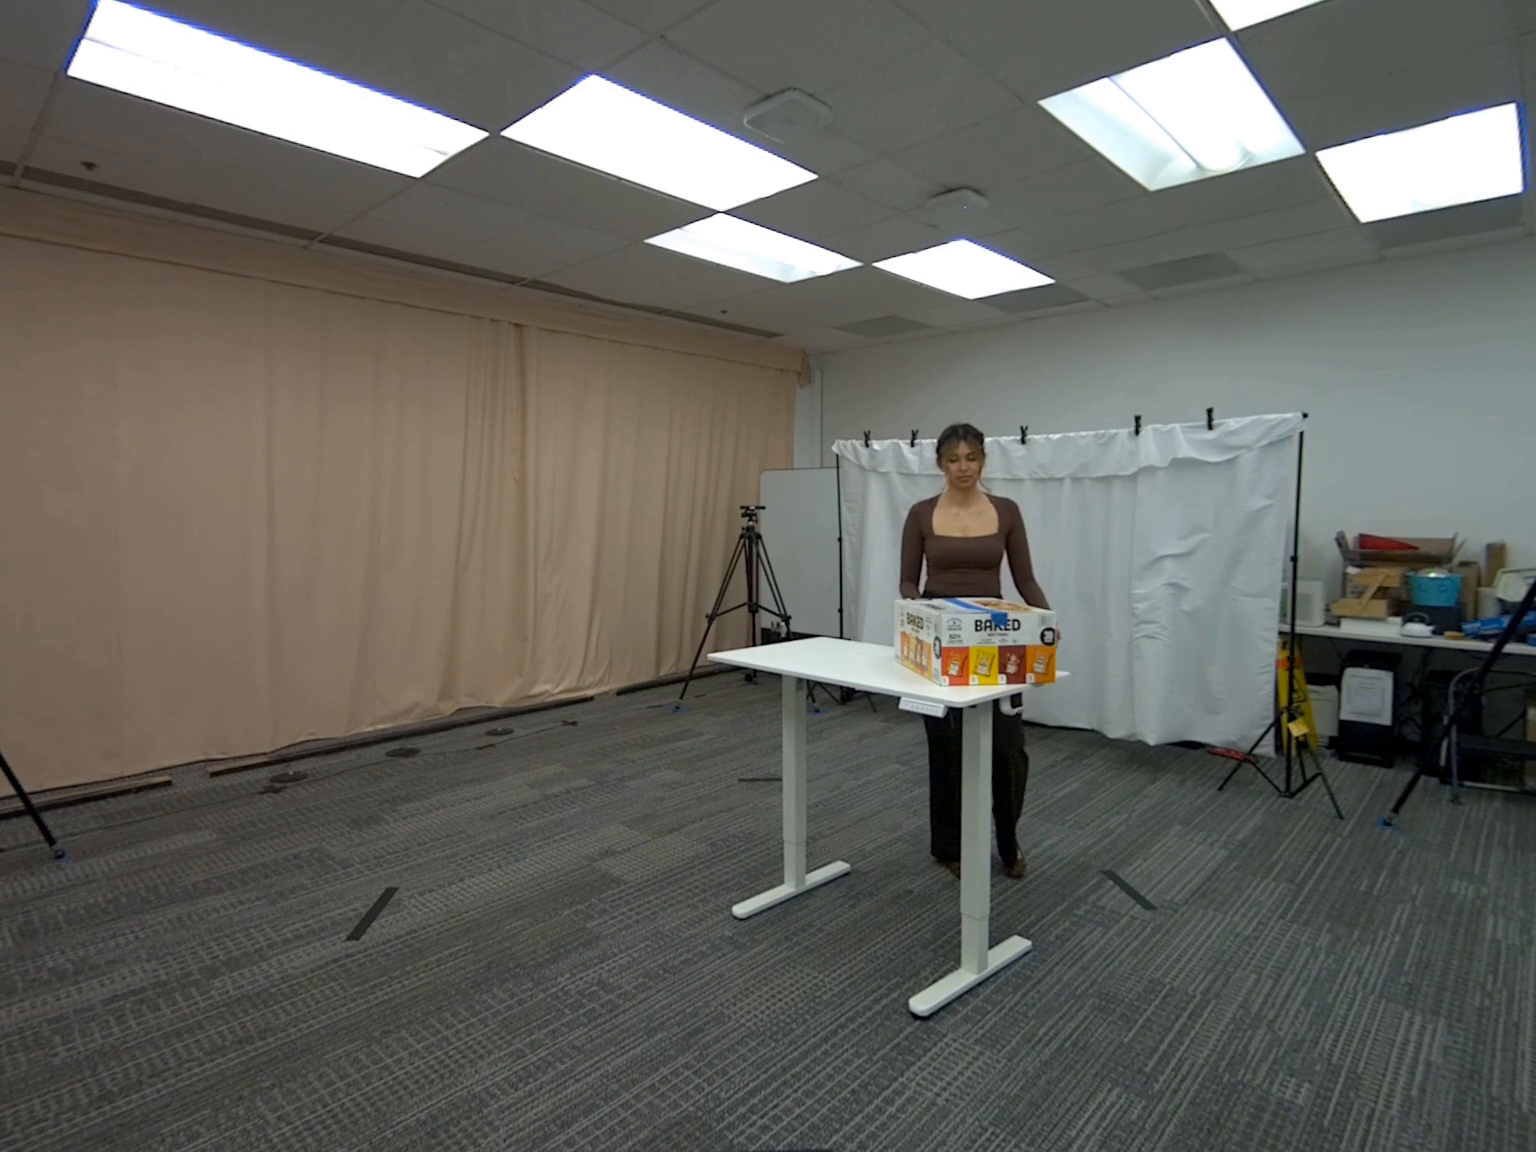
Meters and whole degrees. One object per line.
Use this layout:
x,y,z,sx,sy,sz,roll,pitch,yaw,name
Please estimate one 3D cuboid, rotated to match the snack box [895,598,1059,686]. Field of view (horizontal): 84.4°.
0.618,0.194,2.554,0.338,0.205,0.409,0,4,-8,snack box
